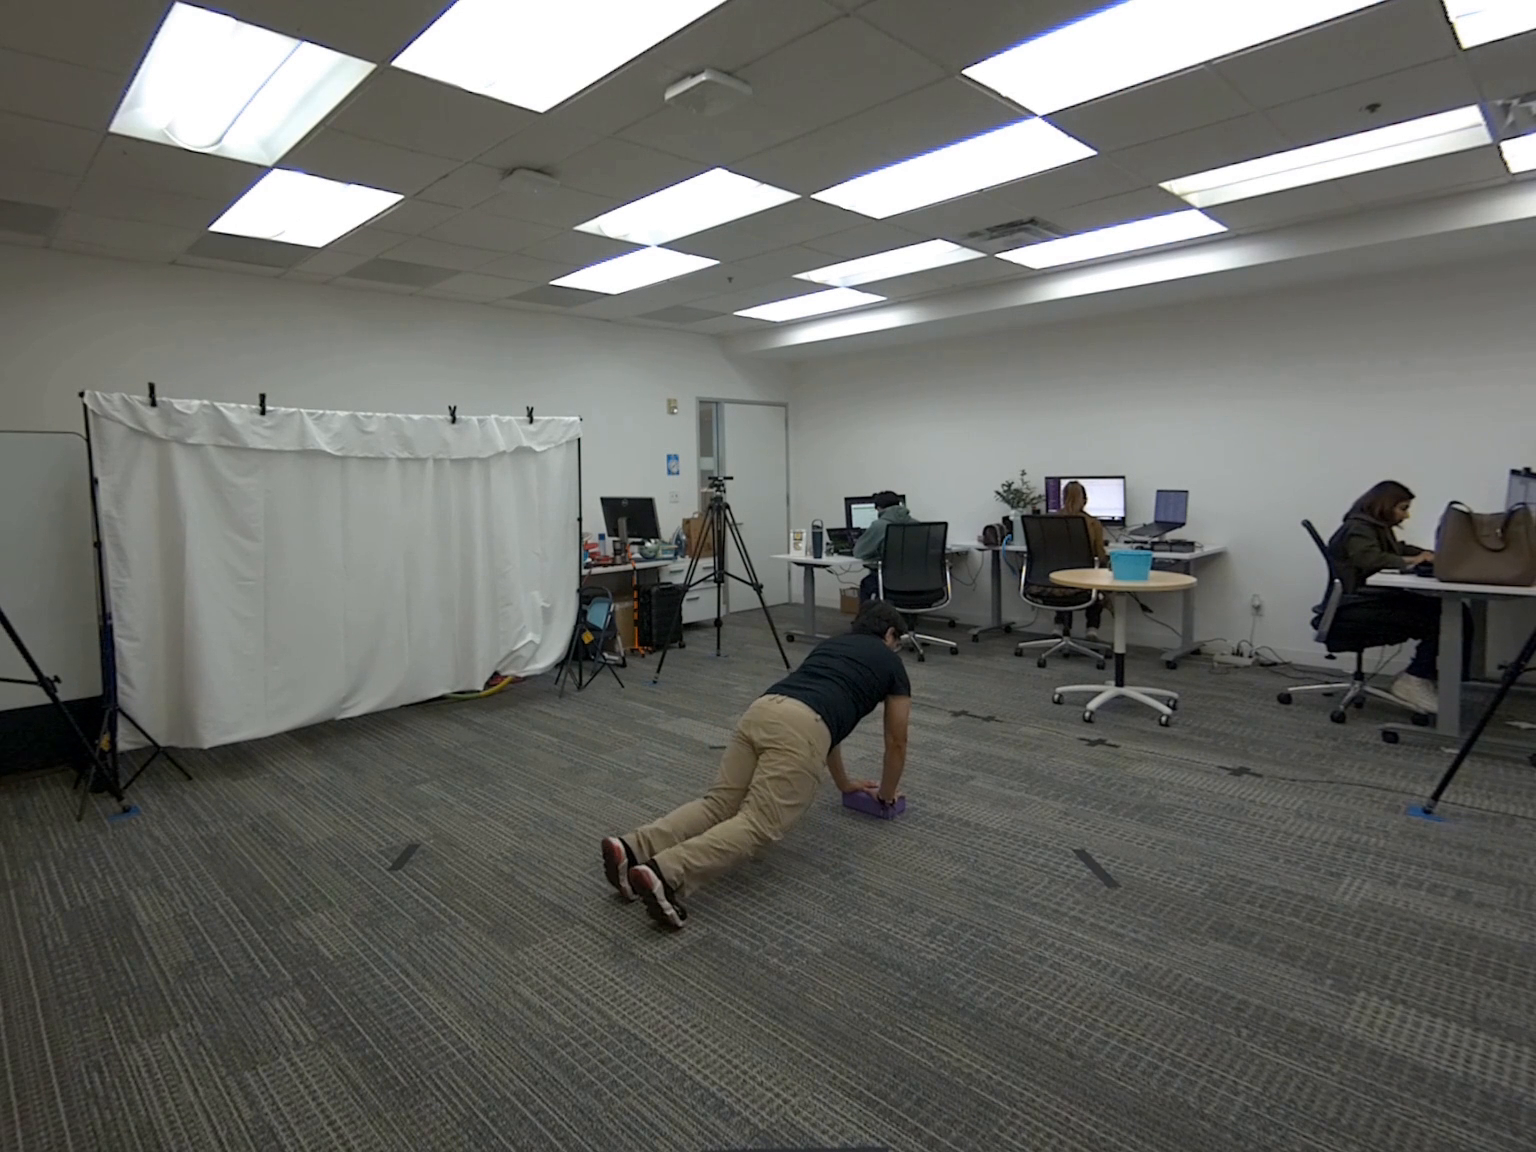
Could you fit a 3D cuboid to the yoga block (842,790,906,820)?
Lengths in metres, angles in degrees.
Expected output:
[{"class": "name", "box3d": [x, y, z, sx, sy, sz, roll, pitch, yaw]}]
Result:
[{"class": "yoga block", "box3d": [0.445, 0.936, 3.585, 0.236, 0.076, 0.145, 3, 5, 44]}]
